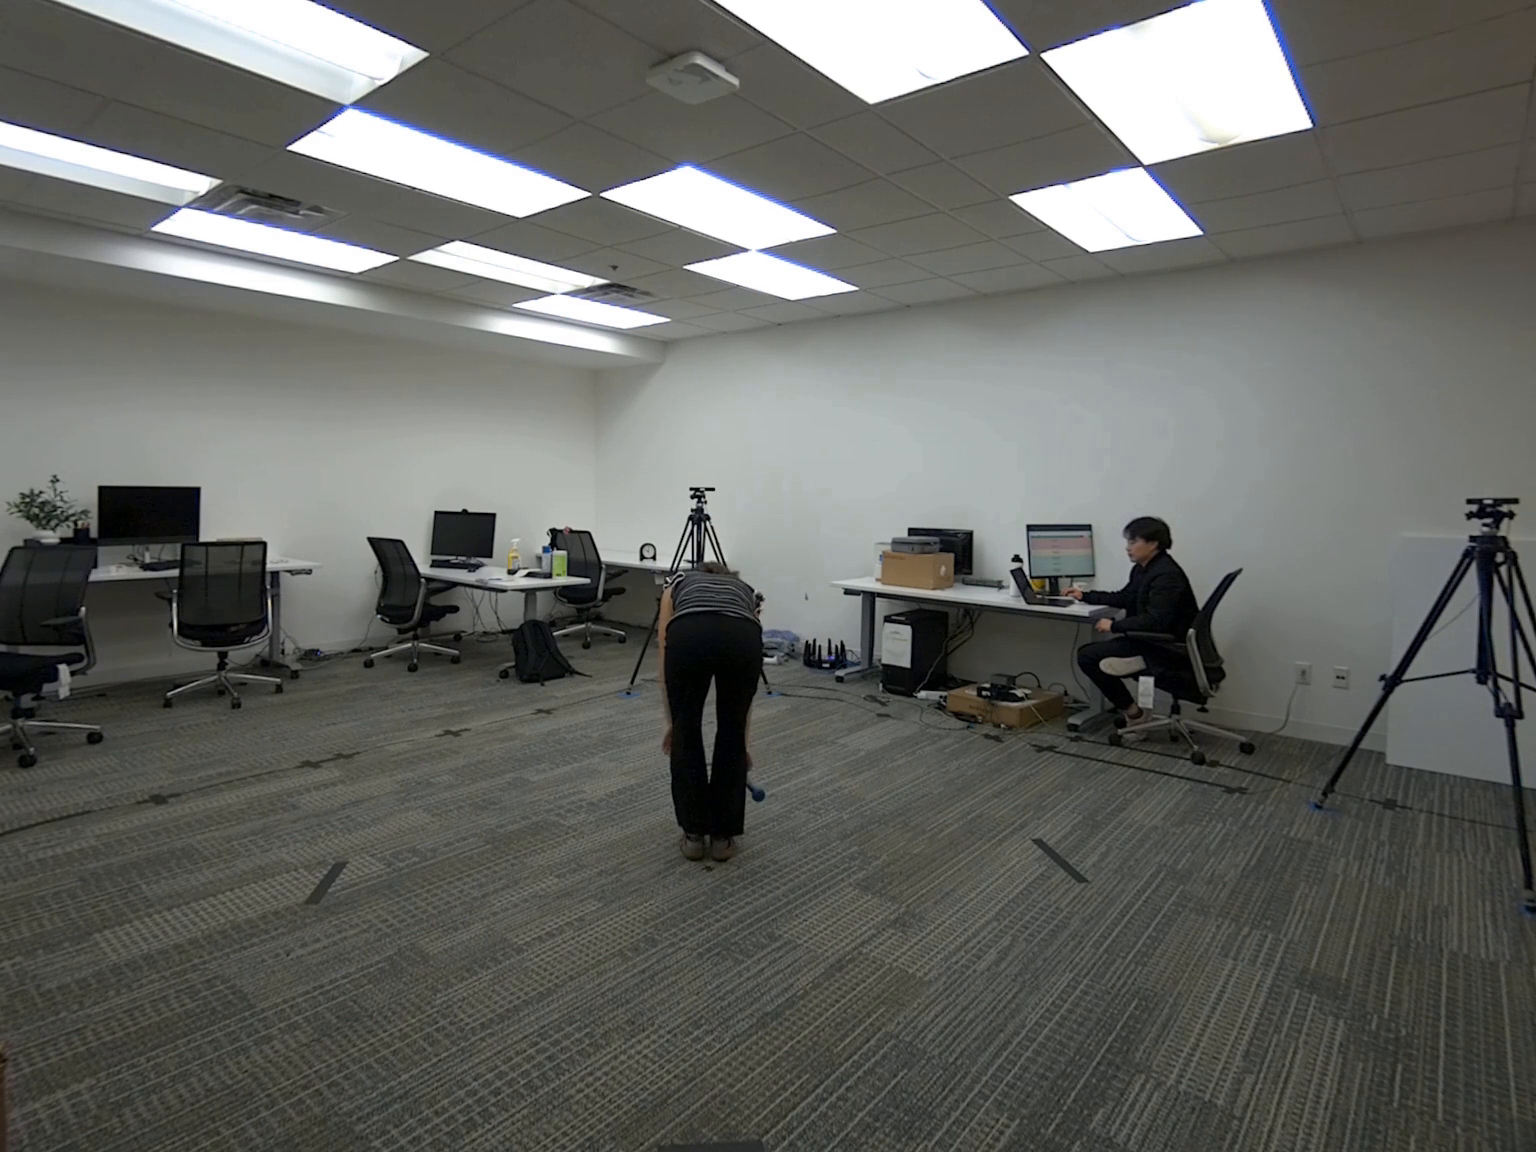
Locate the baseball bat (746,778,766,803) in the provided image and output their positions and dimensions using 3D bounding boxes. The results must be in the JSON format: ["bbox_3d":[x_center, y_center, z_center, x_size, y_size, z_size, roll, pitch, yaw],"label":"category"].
[{"bbox_3d":[-0.129,0.790,3.428,0.088,0.088,0.554,0,7,-16],"label":"baseball bat"}]
